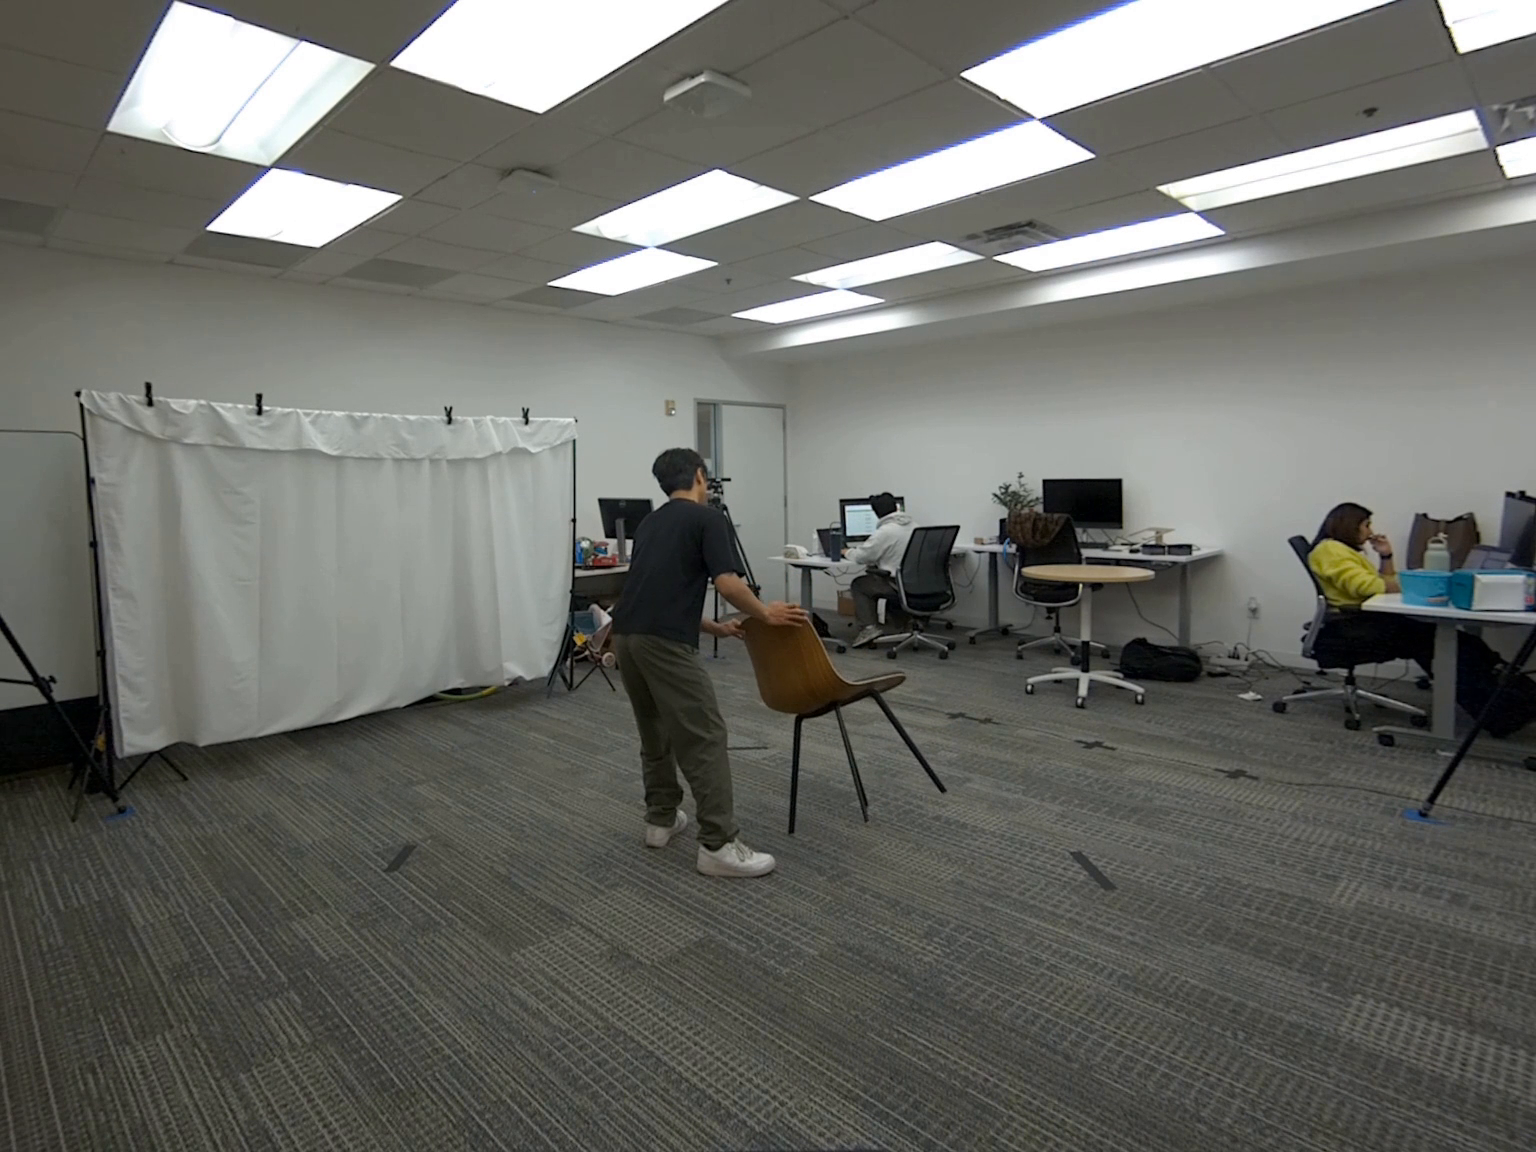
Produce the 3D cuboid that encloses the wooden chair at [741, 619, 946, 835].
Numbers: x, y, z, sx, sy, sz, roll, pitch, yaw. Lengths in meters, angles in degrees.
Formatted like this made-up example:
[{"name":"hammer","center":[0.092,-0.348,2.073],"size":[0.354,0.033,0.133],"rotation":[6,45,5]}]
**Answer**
[{"name":"wooden chair","center":[0.272,0.520,3.430],"size":[0.511,0.889,0.483],"rotation":[-10,-14,-41]}]
